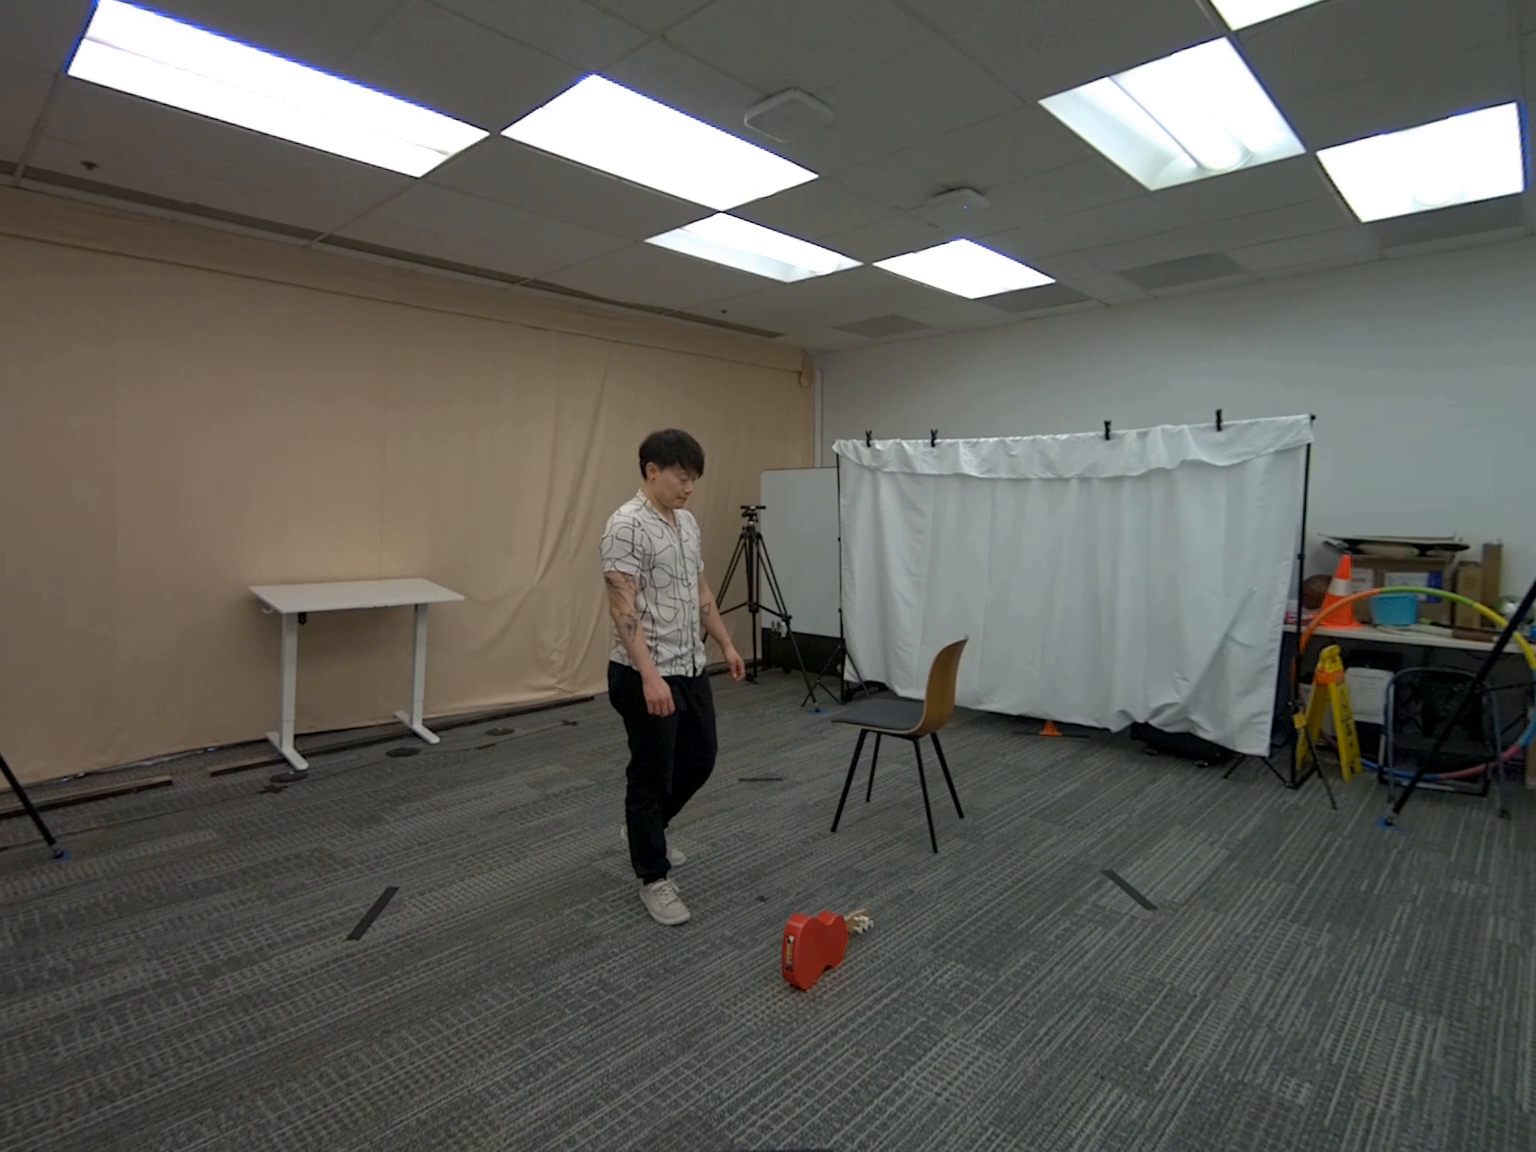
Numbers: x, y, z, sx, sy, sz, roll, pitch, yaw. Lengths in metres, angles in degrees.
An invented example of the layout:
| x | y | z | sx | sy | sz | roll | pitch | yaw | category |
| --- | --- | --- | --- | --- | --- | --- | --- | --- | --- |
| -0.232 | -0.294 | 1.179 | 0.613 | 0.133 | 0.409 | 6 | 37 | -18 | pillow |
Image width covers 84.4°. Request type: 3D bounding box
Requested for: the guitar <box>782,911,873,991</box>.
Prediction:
| x | y | z | sx | sy | sz | roll | pitch | yaw | category |
| --- | --- | --- | --- | --- | --- | --- | --- | --- | --- |
| 0.207 | 1.085 | 2.594 | 0.073 | 0.193 | 0.483 | -4 | 1 | 37 | guitar |
